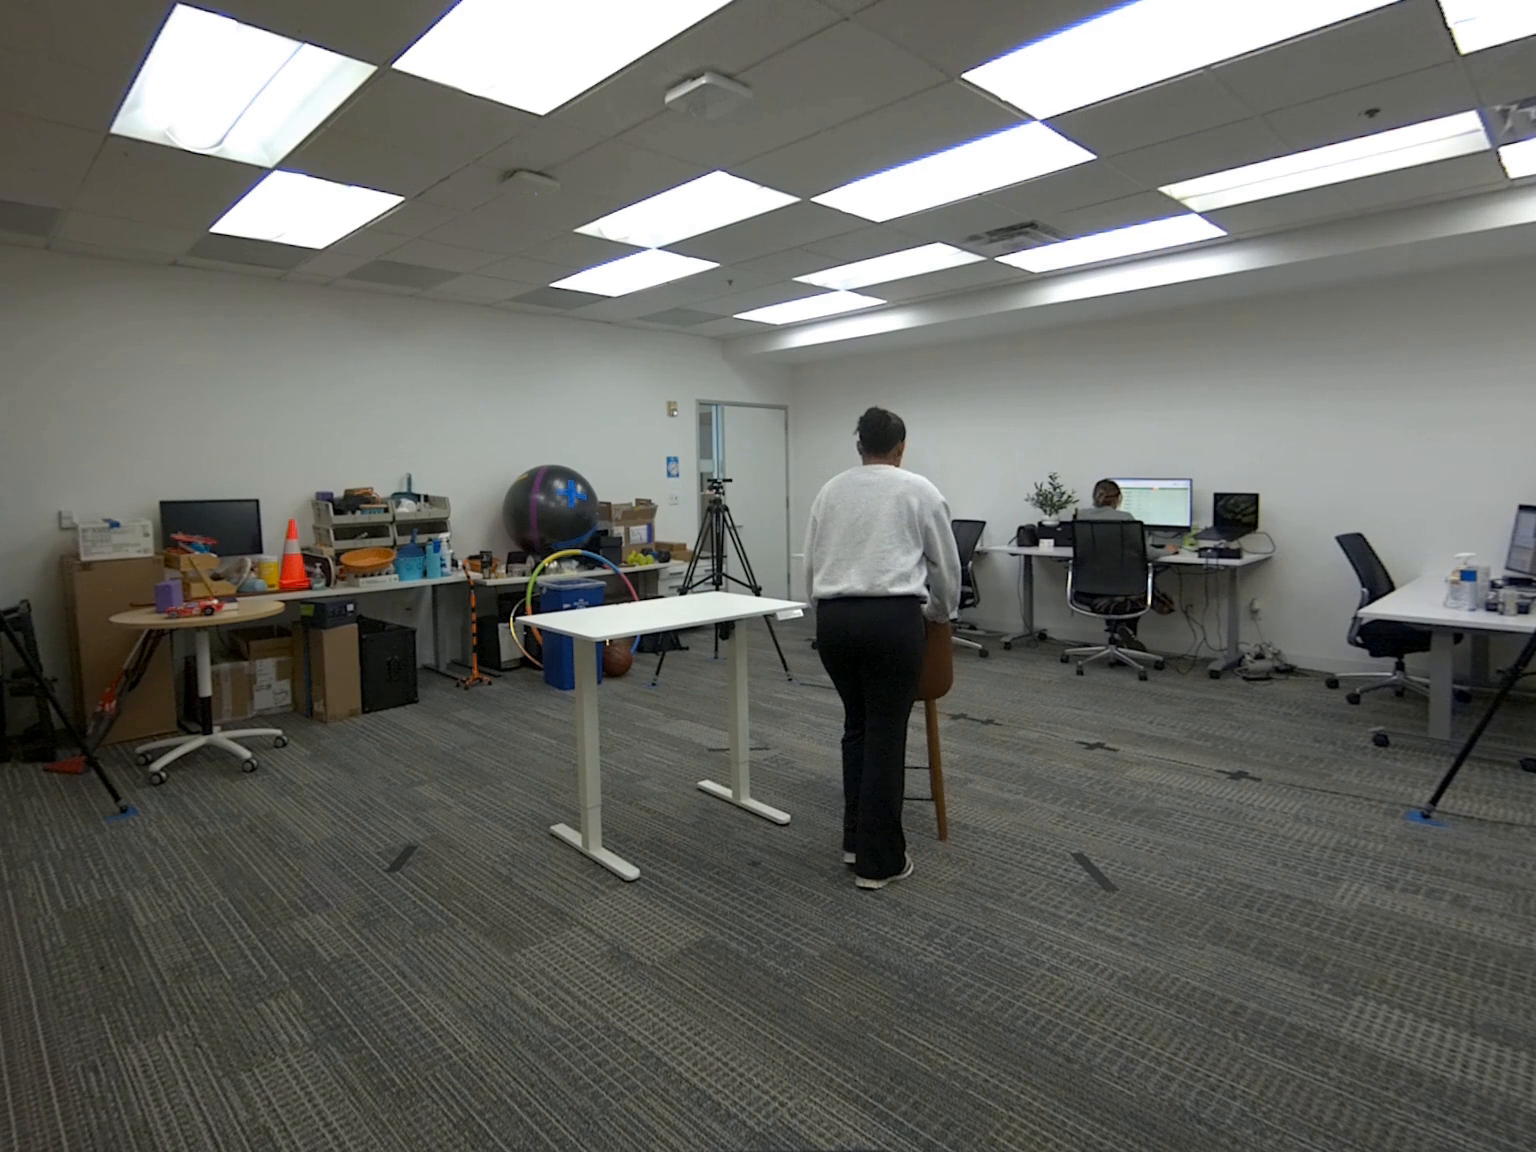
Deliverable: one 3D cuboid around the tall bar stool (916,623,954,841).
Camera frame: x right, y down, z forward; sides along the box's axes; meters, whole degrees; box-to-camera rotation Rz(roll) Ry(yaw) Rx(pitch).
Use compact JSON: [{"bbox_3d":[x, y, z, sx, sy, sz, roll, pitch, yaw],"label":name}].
[{"bbox_3d":[0.518,0.562,3.491,0.460,0.884,0.467,0,7,6],"label":"tall bar stool"}]
